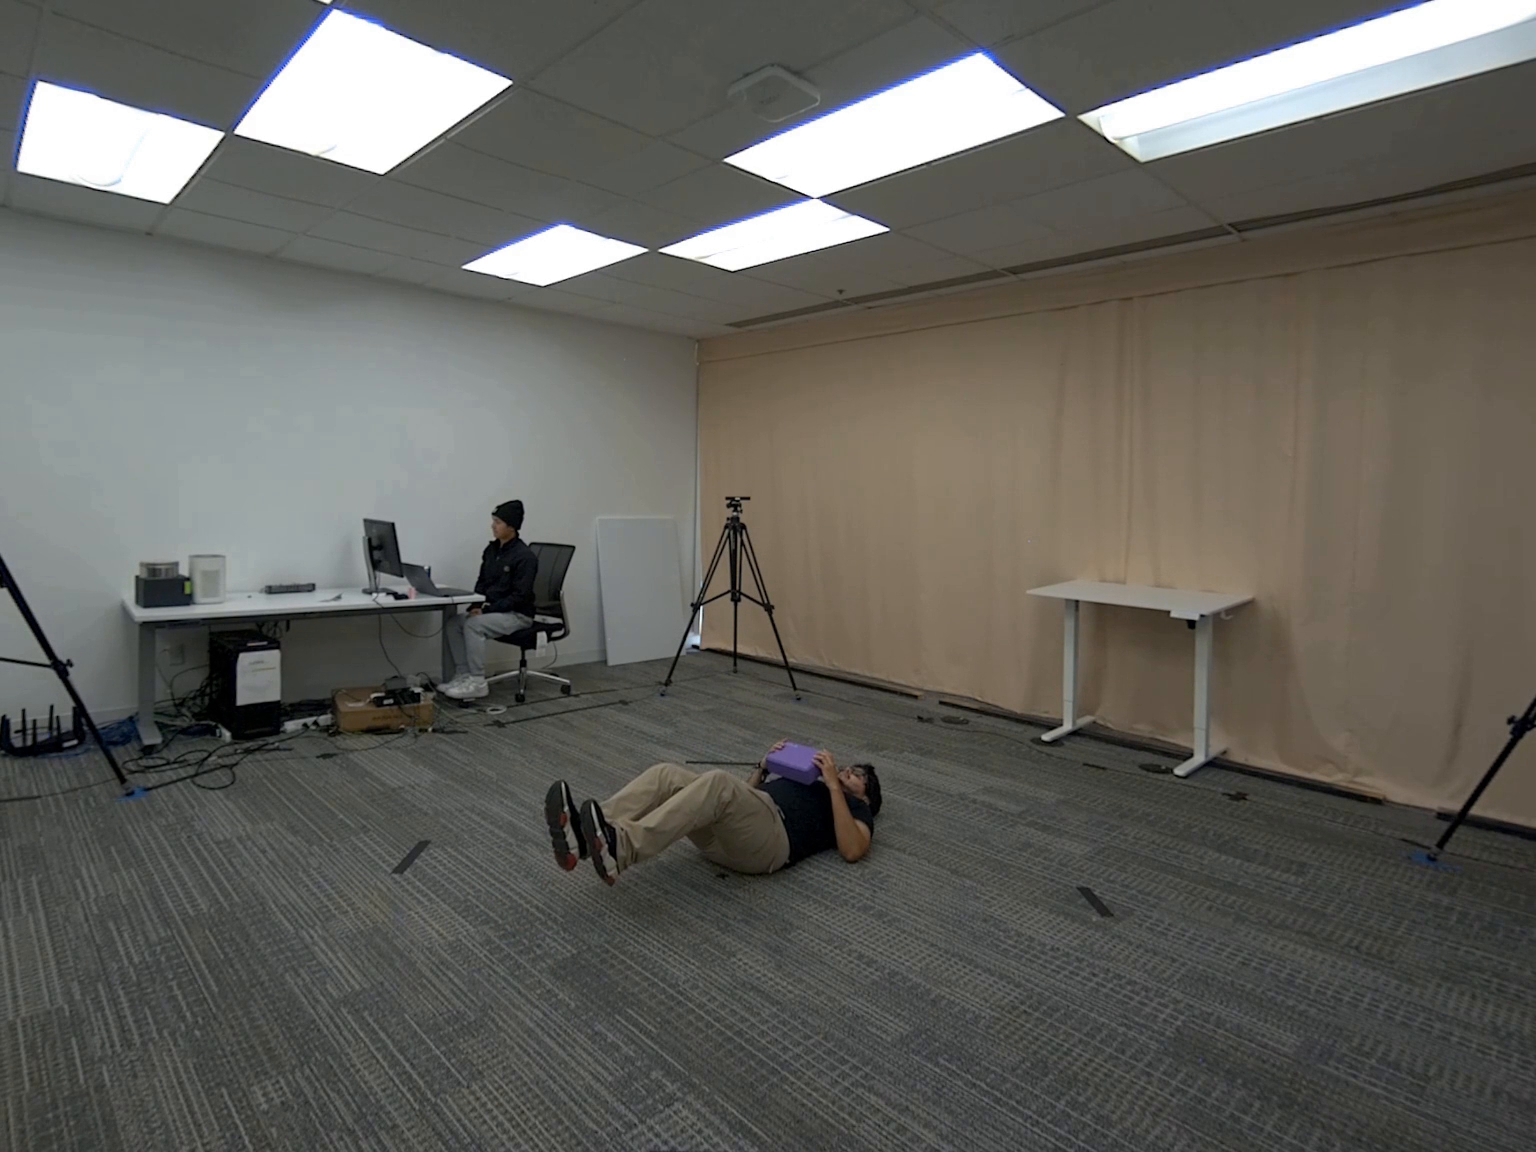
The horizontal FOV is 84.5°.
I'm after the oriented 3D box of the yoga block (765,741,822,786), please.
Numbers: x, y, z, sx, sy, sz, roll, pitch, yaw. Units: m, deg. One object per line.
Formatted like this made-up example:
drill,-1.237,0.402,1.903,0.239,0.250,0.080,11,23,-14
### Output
yoga block,0.112,0.766,3.451,0.235,0.075,0.147,5,21,43
